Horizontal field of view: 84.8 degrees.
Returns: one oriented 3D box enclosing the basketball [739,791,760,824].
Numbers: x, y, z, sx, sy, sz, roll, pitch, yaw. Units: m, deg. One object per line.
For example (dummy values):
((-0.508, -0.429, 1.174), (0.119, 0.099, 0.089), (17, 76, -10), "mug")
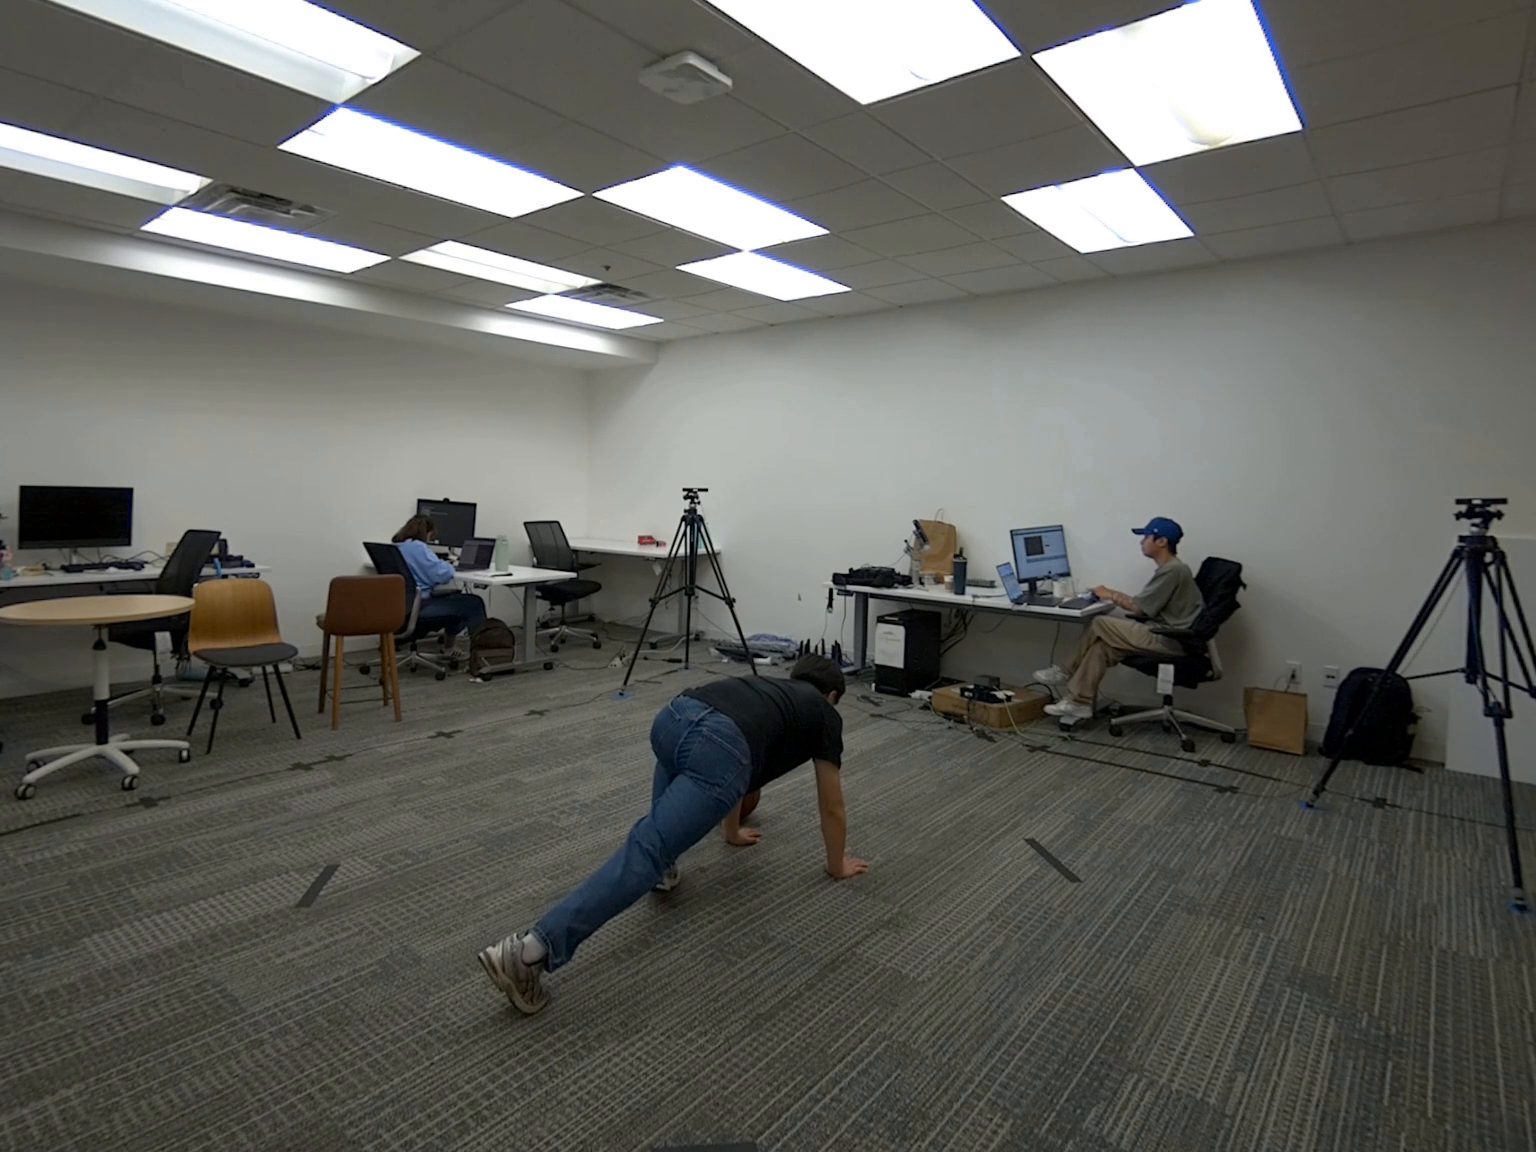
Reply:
((-0.150, 0.895, 3.594), (0.235, 0.235, 0.237), (1, 4, -2), "basketball")
